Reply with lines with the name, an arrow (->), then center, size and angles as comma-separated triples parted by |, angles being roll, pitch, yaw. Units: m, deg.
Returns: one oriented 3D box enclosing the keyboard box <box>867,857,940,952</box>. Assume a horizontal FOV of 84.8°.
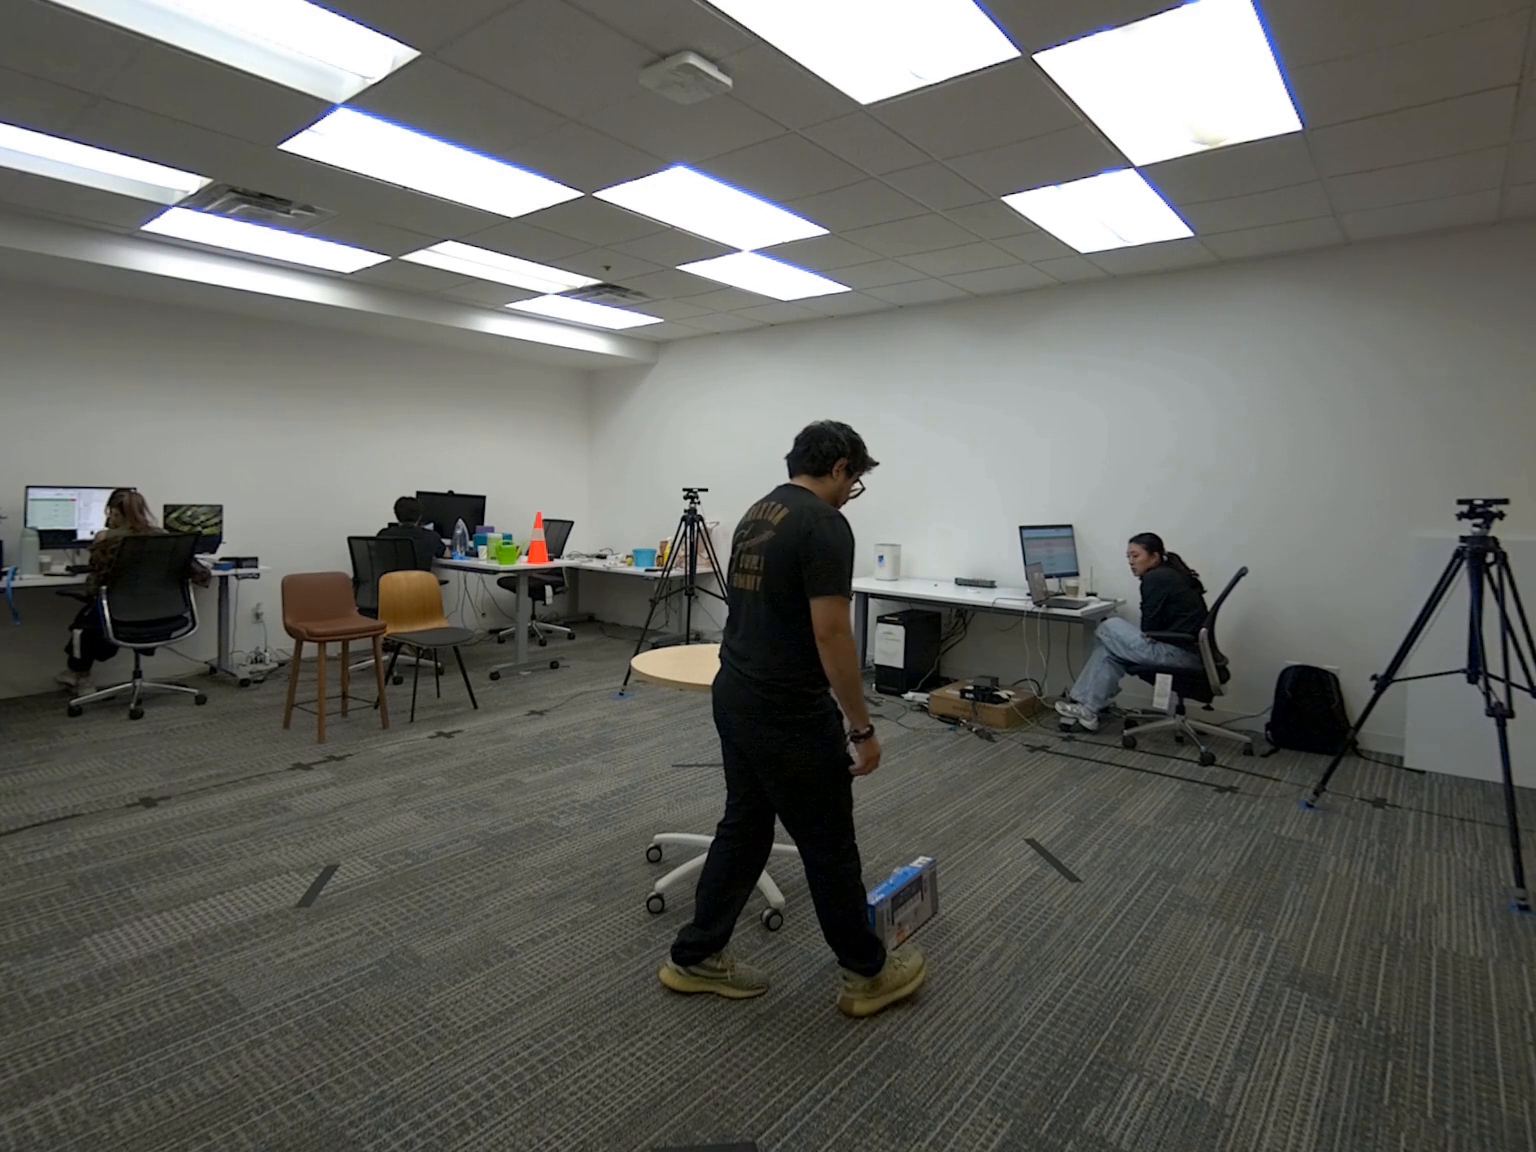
keyboard box -> 0.412, 1.041, 2.683 | 0.061, 0.176, 0.424 | -4, 1, 36
